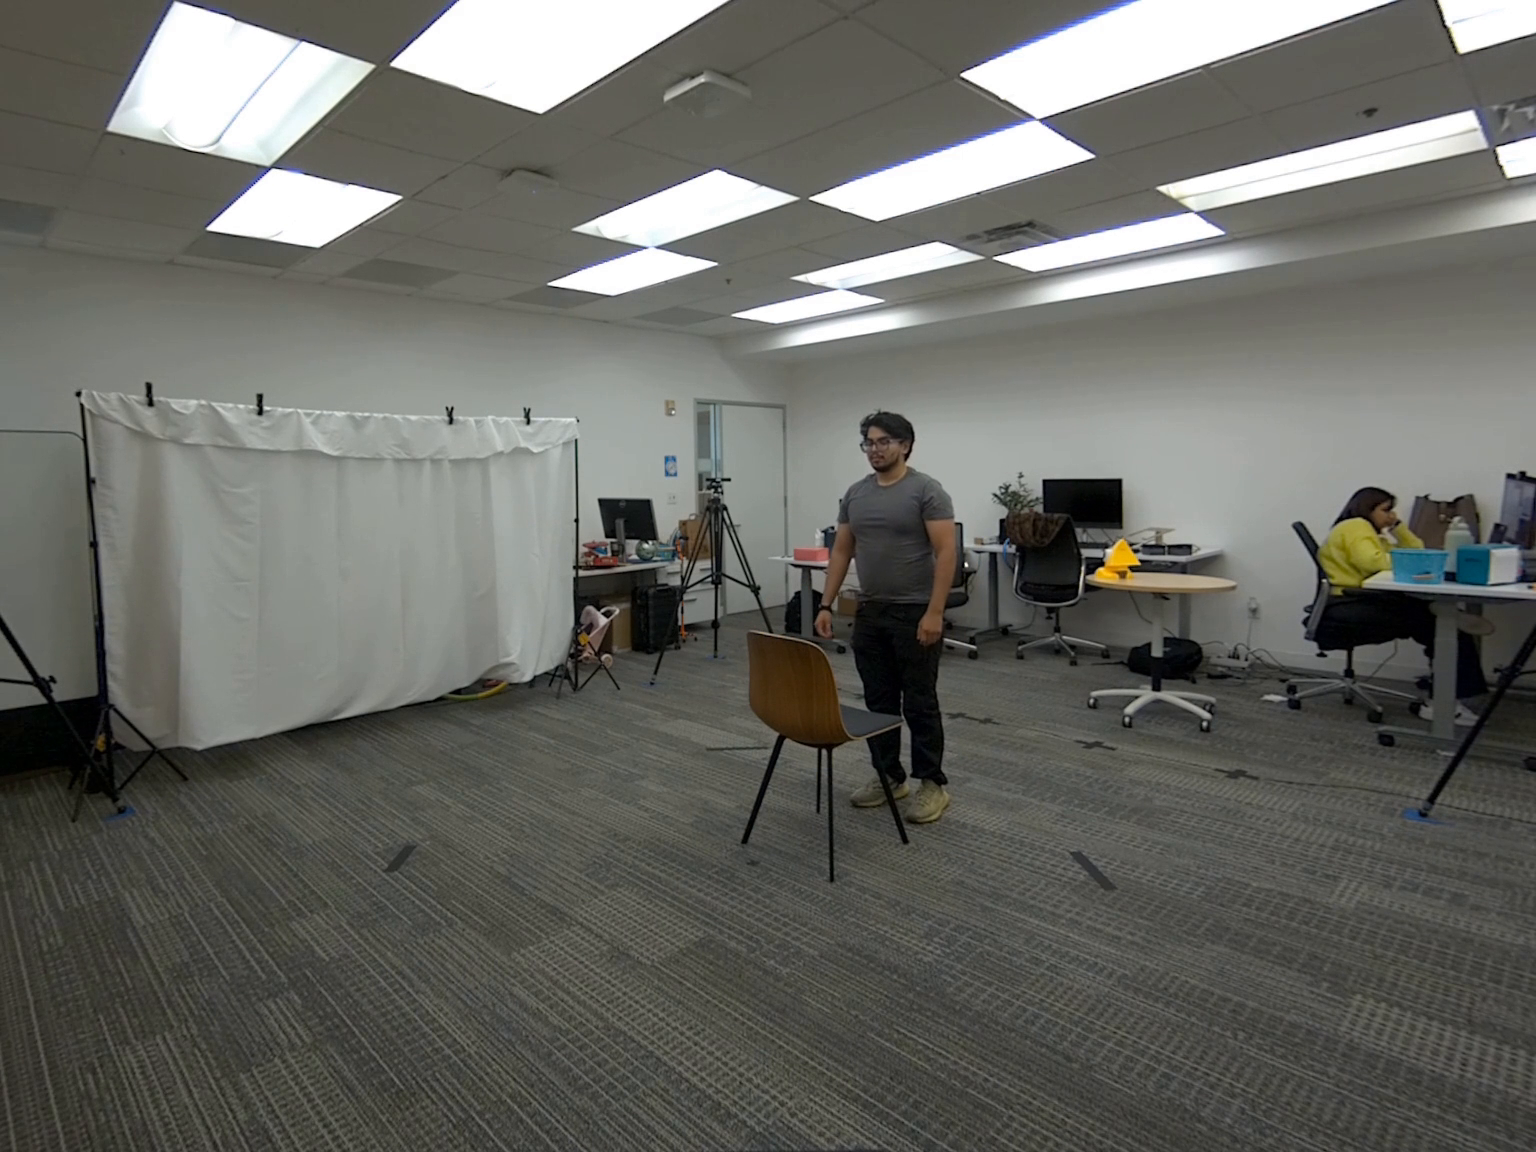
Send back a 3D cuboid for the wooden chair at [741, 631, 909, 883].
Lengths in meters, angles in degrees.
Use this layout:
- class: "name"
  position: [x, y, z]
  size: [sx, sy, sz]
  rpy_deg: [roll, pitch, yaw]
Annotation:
- class: "wooden chair"
  position: [0.215, 0.598, 3.231]
  size: [0.511, 0.871, 0.493]
  rpy_deg: [-11, 10, -44]
